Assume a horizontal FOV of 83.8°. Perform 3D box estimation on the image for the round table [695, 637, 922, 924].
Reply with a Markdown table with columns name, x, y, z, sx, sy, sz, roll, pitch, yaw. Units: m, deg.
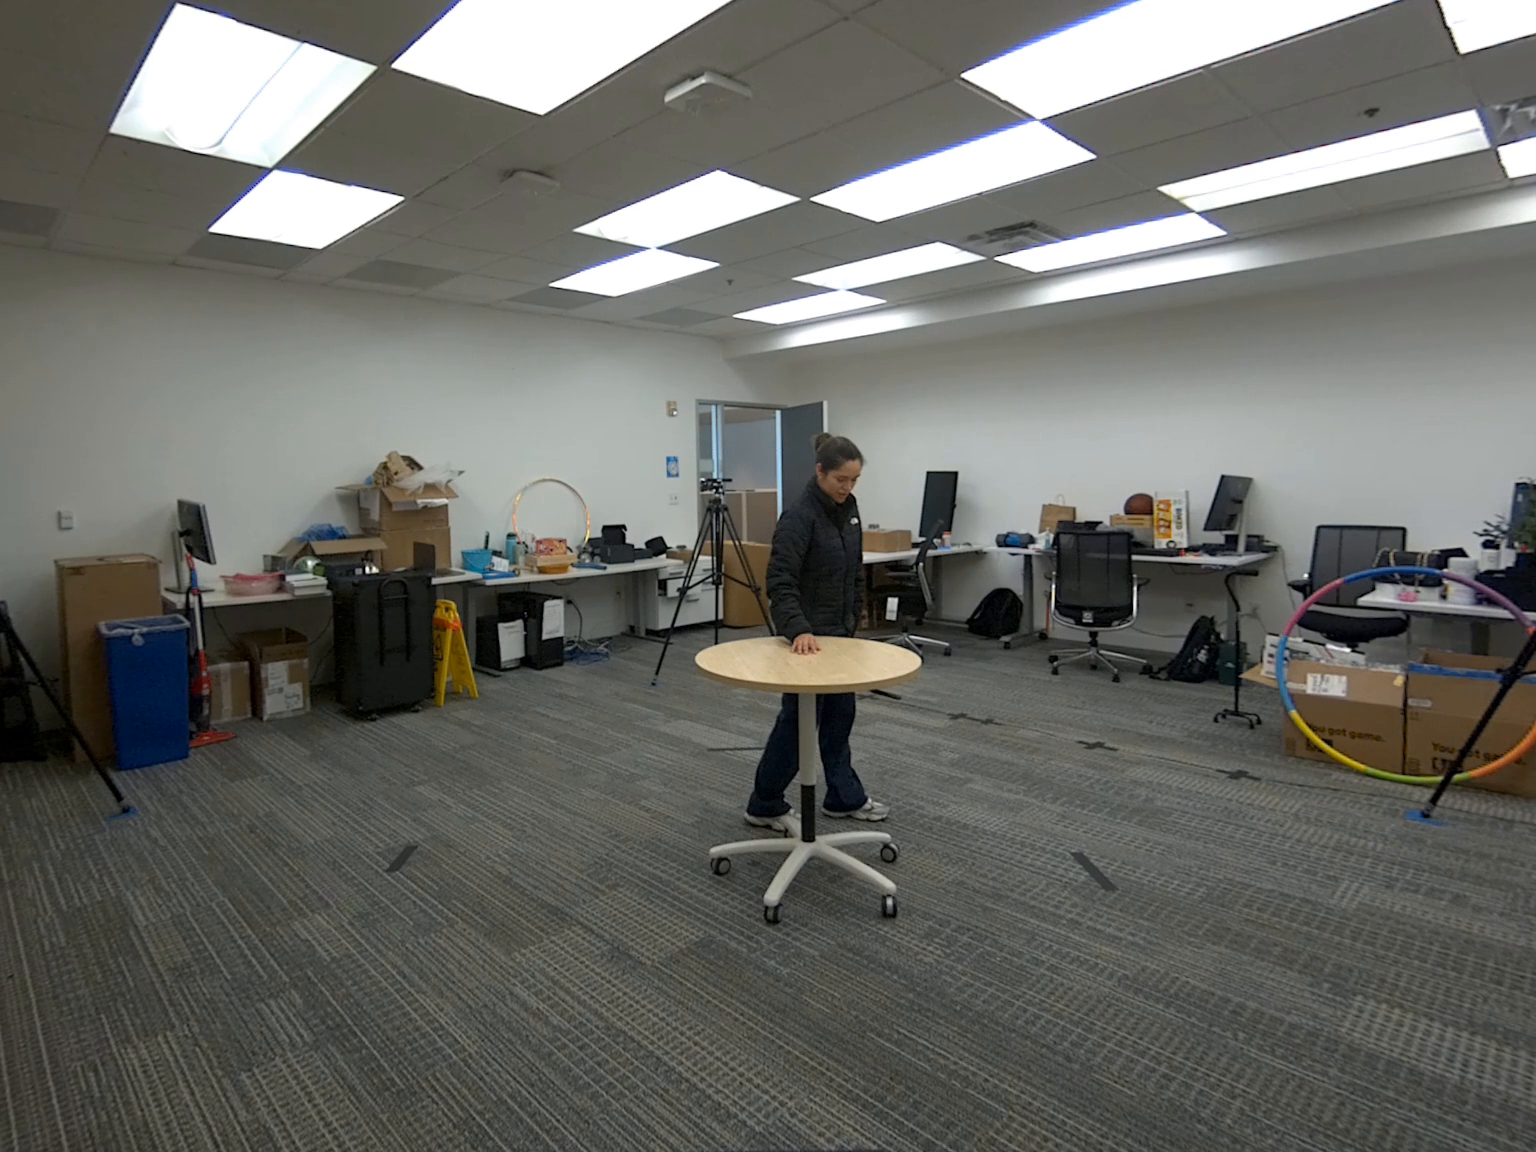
| name | x | y | z | sx | sy | sz | roll | pitch | yaw |
| --- | --- | --- | --- | --- | --- | --- | --- | --- | --- |
| round table | 0.128 | 0.669 | 2.950 | 0.784 | 0.783 | 0.789 | -1 | 5 | -2 |
